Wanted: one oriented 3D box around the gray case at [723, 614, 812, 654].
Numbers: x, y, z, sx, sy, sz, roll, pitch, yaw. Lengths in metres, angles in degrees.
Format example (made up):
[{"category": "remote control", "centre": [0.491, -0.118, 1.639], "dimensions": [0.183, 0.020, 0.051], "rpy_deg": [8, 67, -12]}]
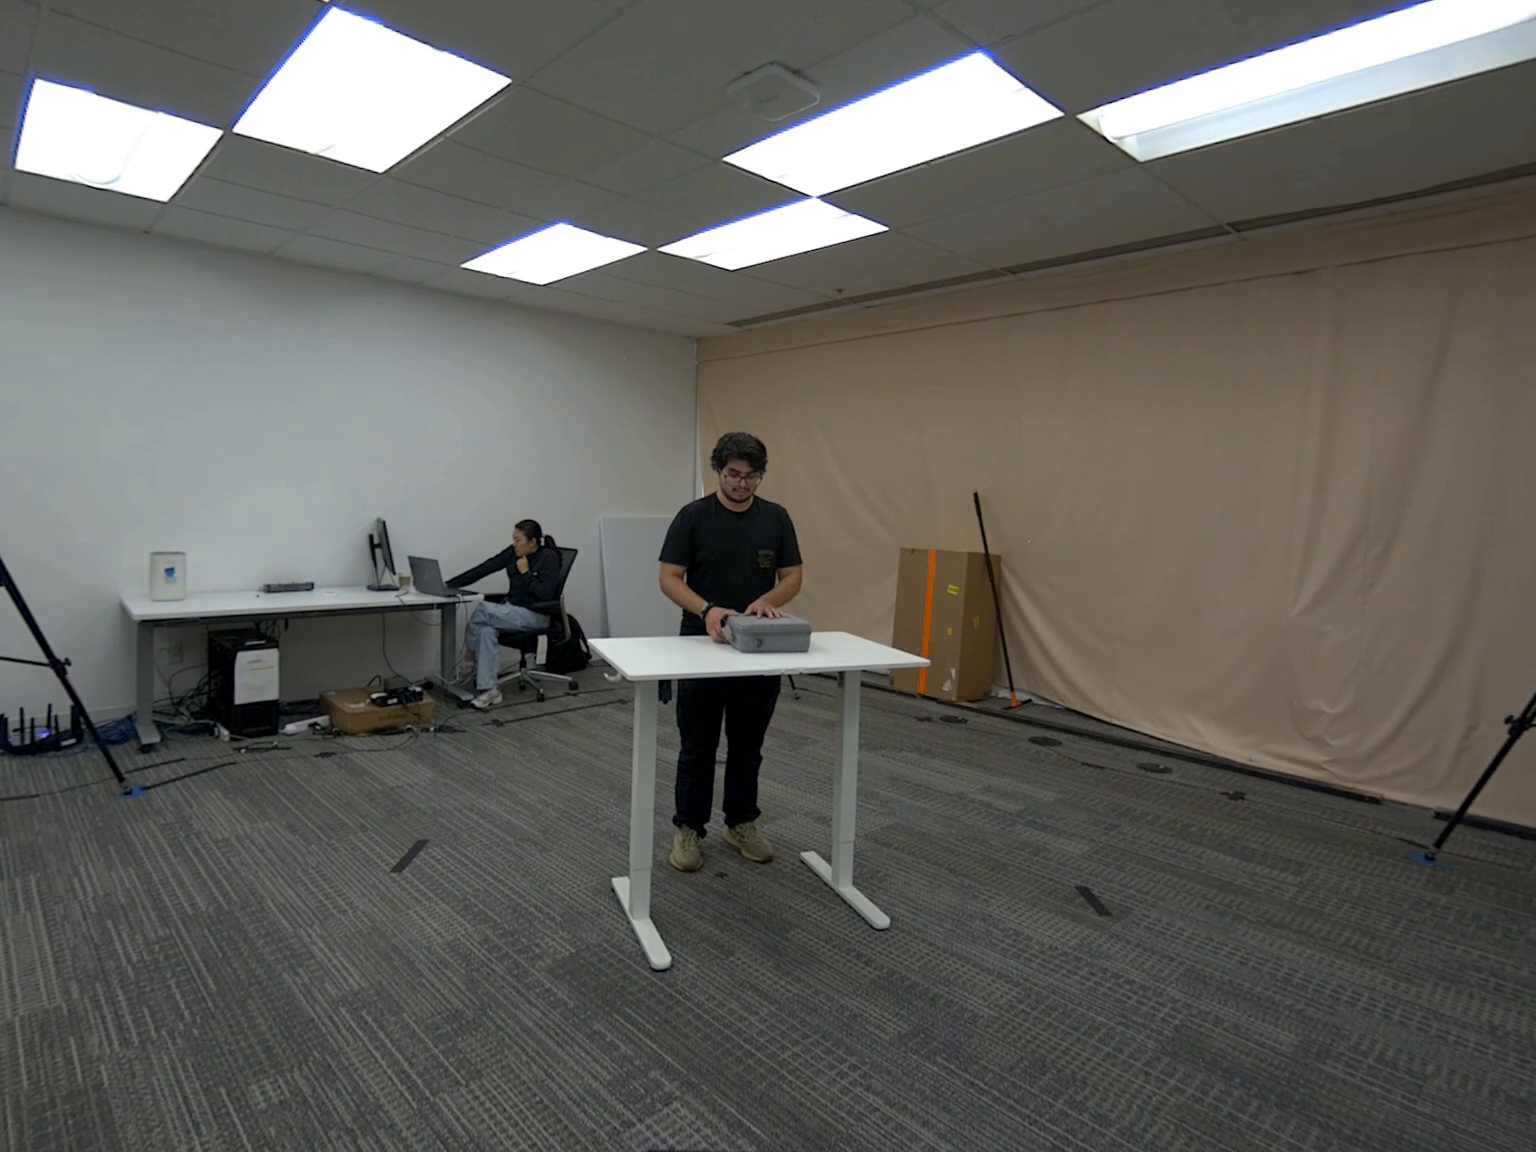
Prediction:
[{"category": "gray case", "centre": [-0.001, 0.197, 2.880], "dimensions": [0.258, 0.104, 0.260], "rpy_deg": [1, 4, -14]}]
